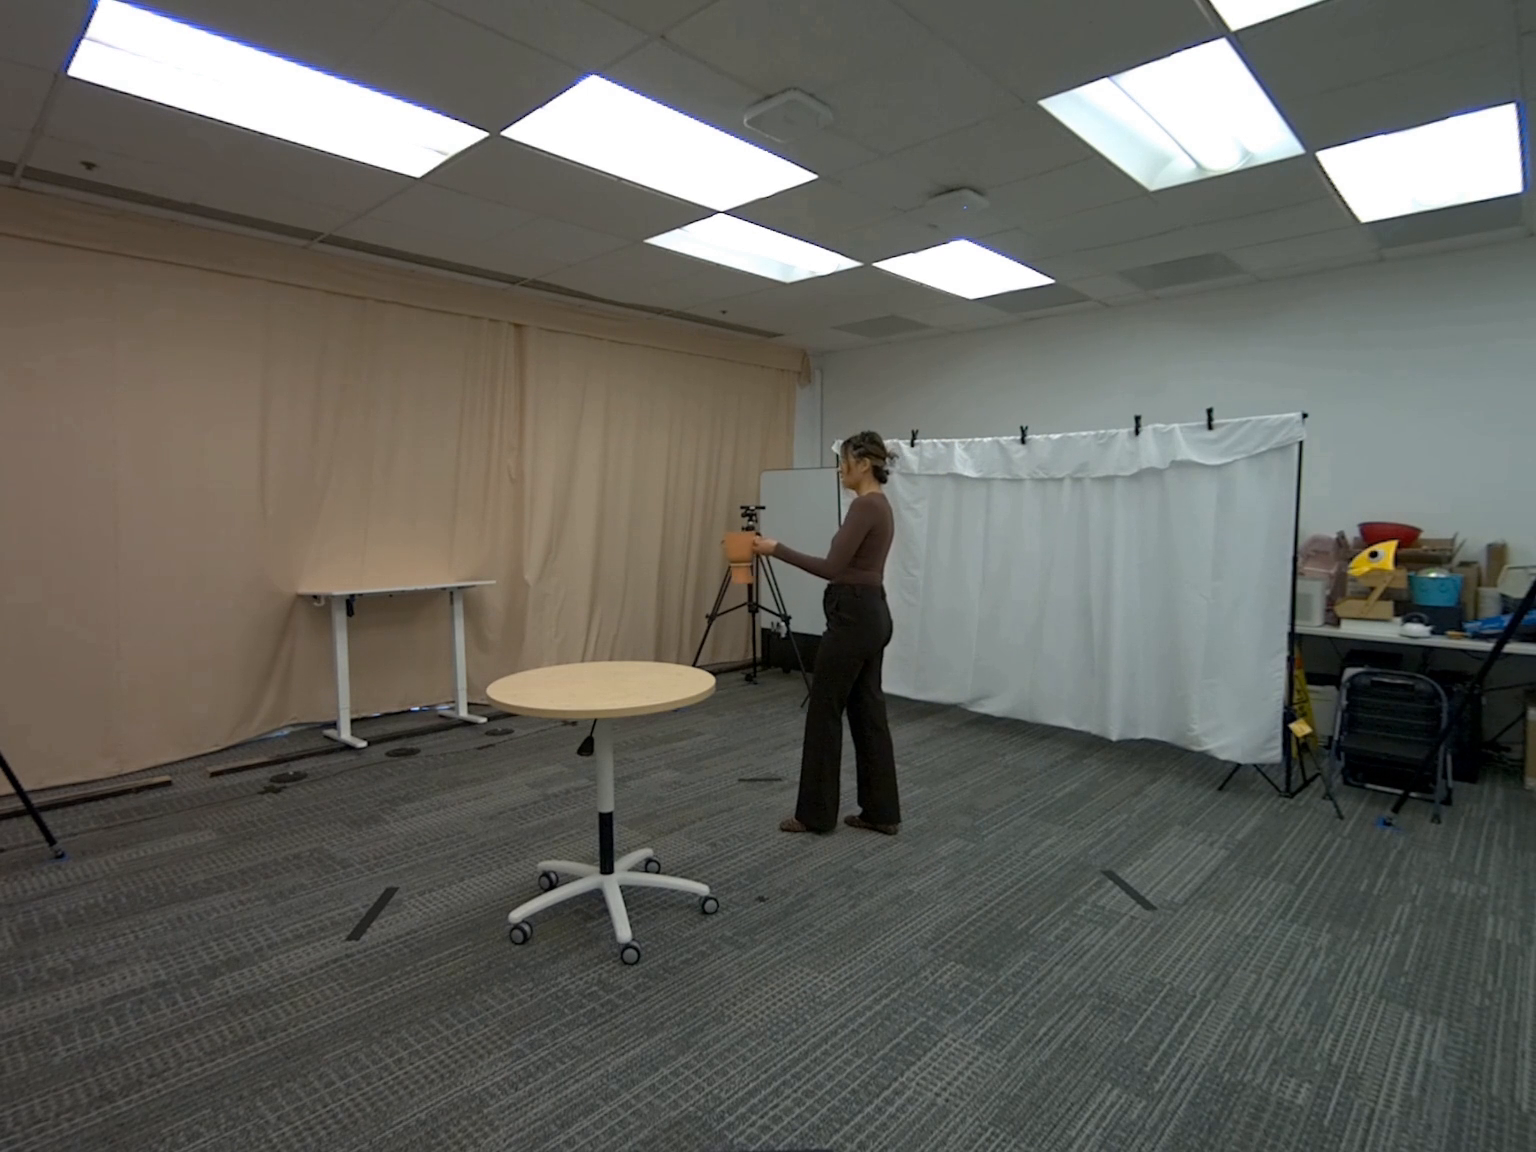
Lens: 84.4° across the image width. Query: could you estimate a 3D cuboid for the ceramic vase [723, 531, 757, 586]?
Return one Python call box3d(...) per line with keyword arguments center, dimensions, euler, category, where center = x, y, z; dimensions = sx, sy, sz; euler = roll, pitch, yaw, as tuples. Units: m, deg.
box3d(center=(-0.111, -0.078, 3.627), dimensions=(0.132, 0.219, 0.162), euler=(-6, 5, -21), category="ceramic vase")
